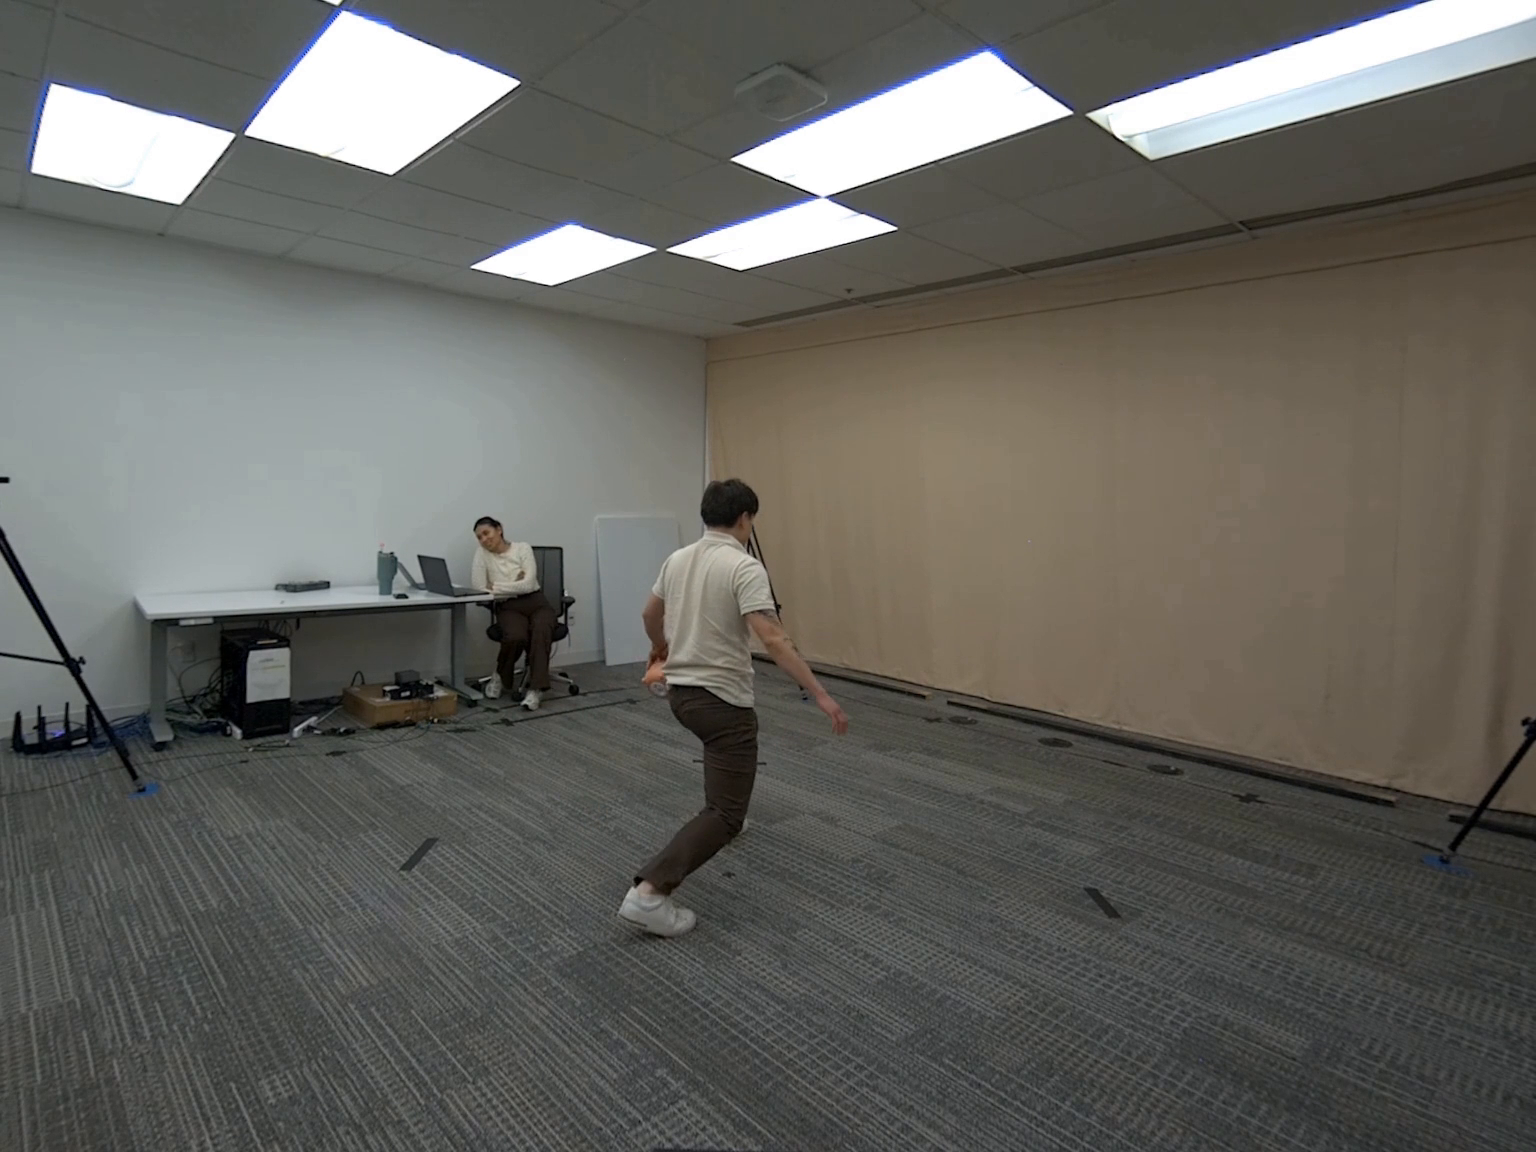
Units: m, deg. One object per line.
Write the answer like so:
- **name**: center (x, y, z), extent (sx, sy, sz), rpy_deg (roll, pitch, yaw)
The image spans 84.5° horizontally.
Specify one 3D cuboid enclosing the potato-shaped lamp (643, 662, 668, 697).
- **potato-shaped lamp**: center (-0.440, 0.424, 3.598), extent (0.167, 0.168, 0.200), rpy_deg (-21, 28, 34)
